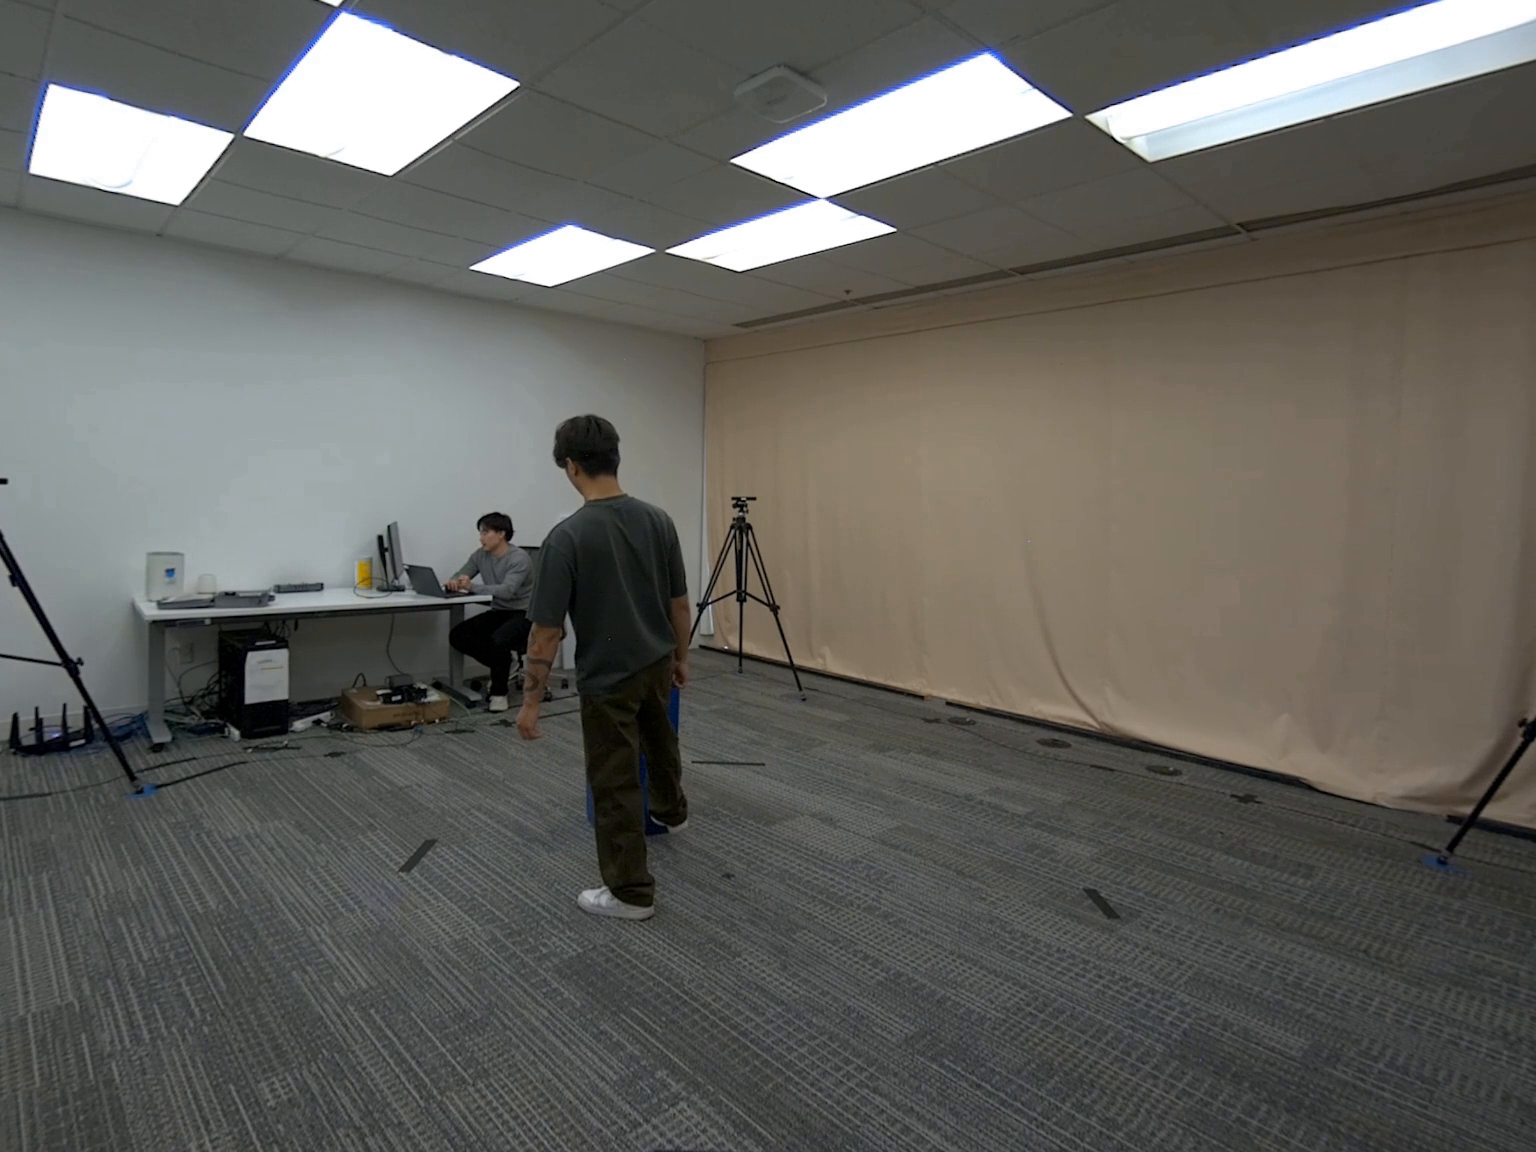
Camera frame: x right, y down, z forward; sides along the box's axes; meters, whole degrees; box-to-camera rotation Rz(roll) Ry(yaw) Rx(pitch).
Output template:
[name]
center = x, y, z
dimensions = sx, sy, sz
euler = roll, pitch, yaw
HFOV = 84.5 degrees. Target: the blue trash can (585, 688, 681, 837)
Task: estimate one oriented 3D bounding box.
[blue trash can]
center = -0.583, 0.701, 3.559
dimensions = 0.371, 0.712, 0.382
euler = -1, 2, -28
